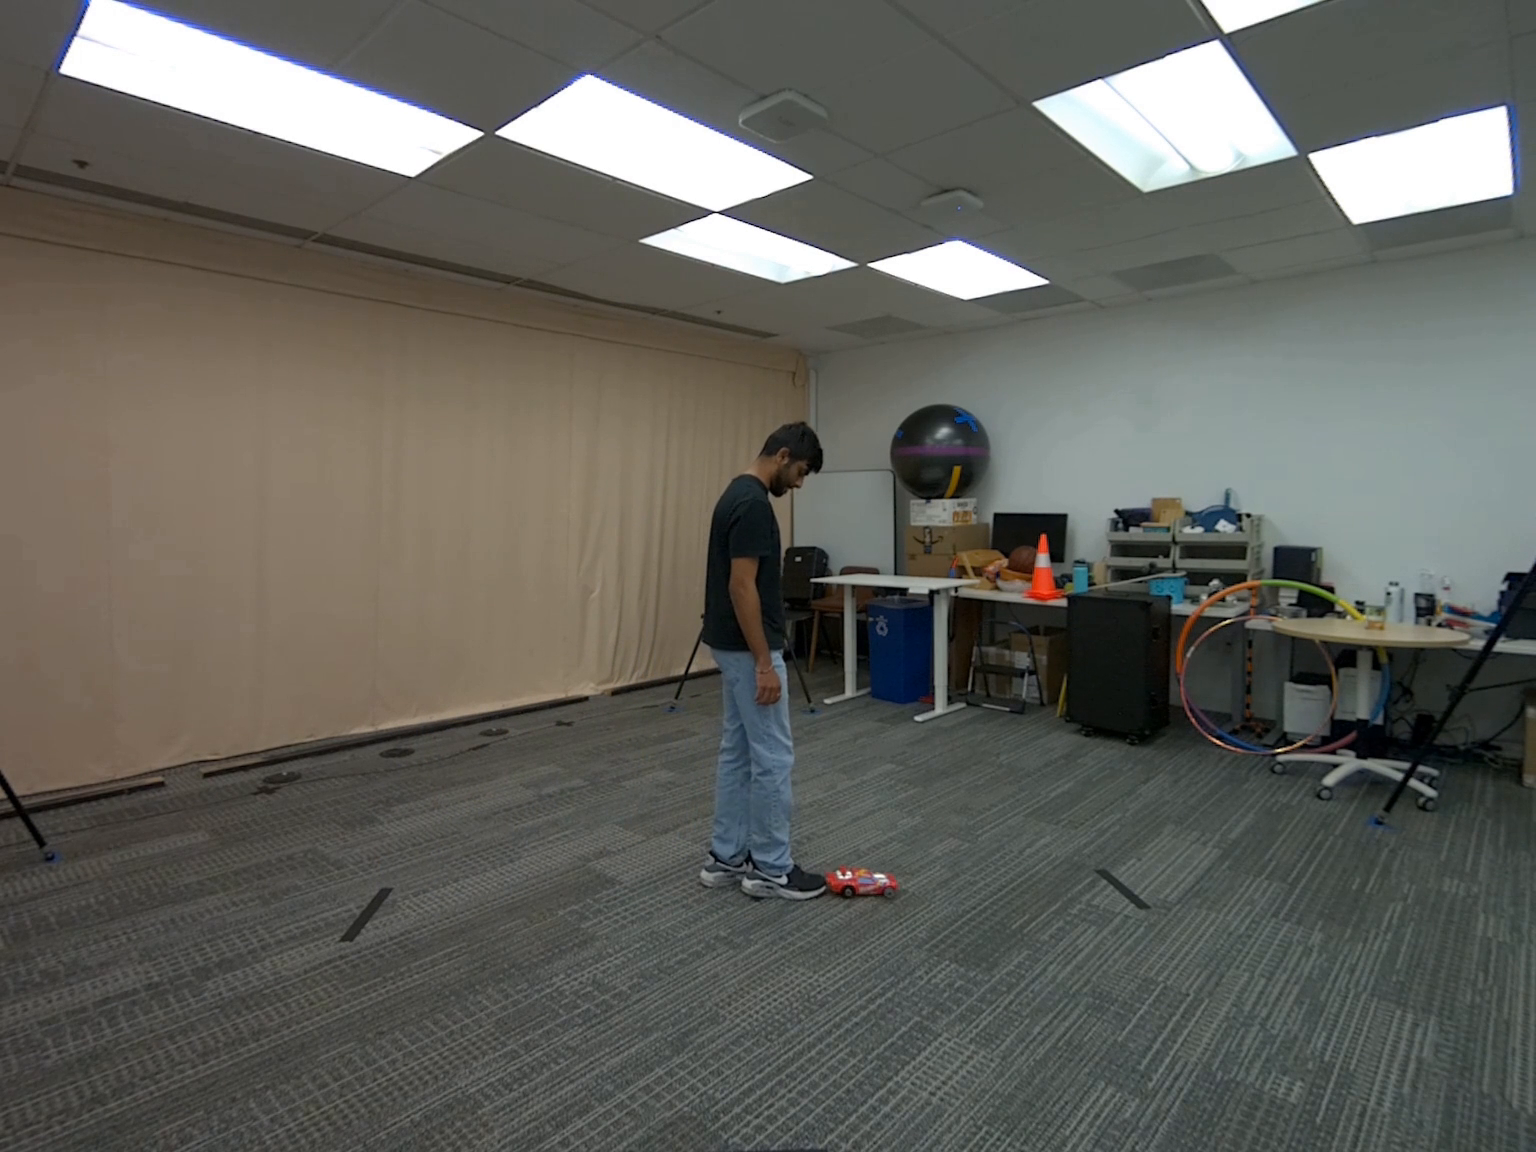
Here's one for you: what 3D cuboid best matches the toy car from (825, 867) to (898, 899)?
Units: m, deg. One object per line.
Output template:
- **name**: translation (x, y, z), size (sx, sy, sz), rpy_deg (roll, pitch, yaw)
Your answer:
- **toy car**: translation (0.324, 1.105, 3.023), size (0.254, 0.083, 0.131), rpy_deg (13, 4, -2)
